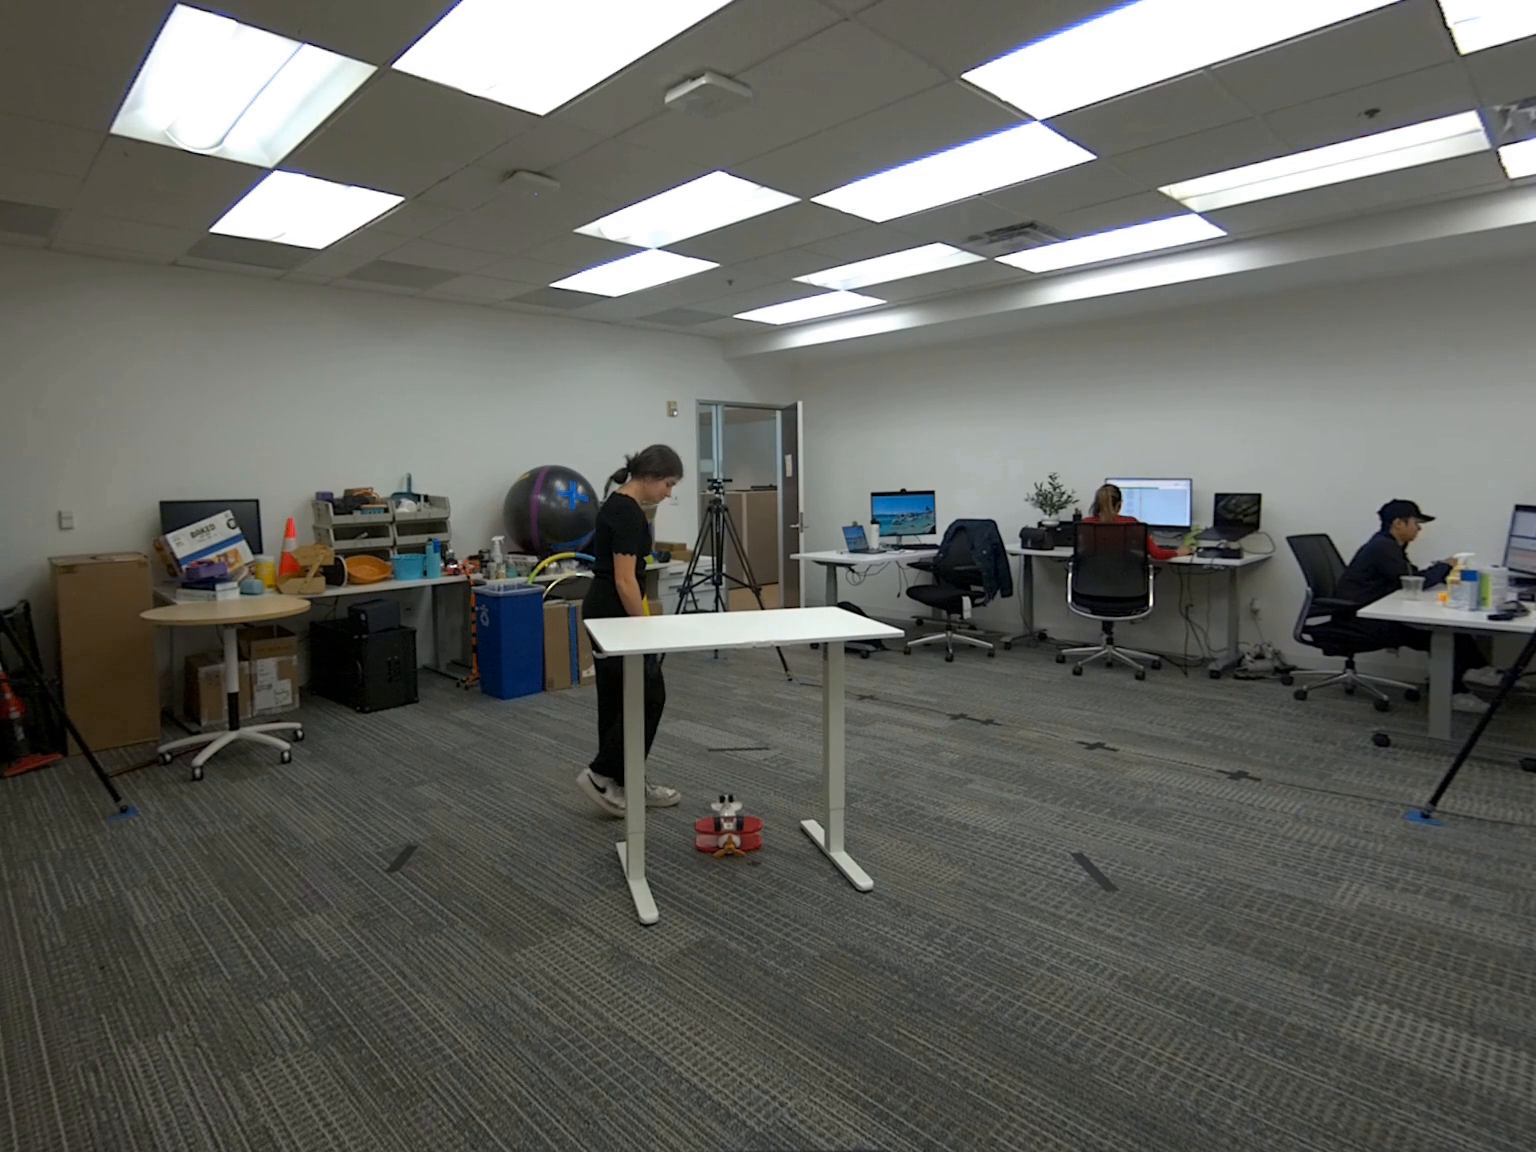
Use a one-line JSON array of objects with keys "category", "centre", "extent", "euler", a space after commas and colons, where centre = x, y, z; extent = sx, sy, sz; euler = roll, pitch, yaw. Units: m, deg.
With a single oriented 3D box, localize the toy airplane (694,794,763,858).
[{"category": "toy airplane", "centre": [-0.134, 0.946, 3.256], "extent": [0.257, 0.155, 0.255], "euler": [4, 10, 24]}]
